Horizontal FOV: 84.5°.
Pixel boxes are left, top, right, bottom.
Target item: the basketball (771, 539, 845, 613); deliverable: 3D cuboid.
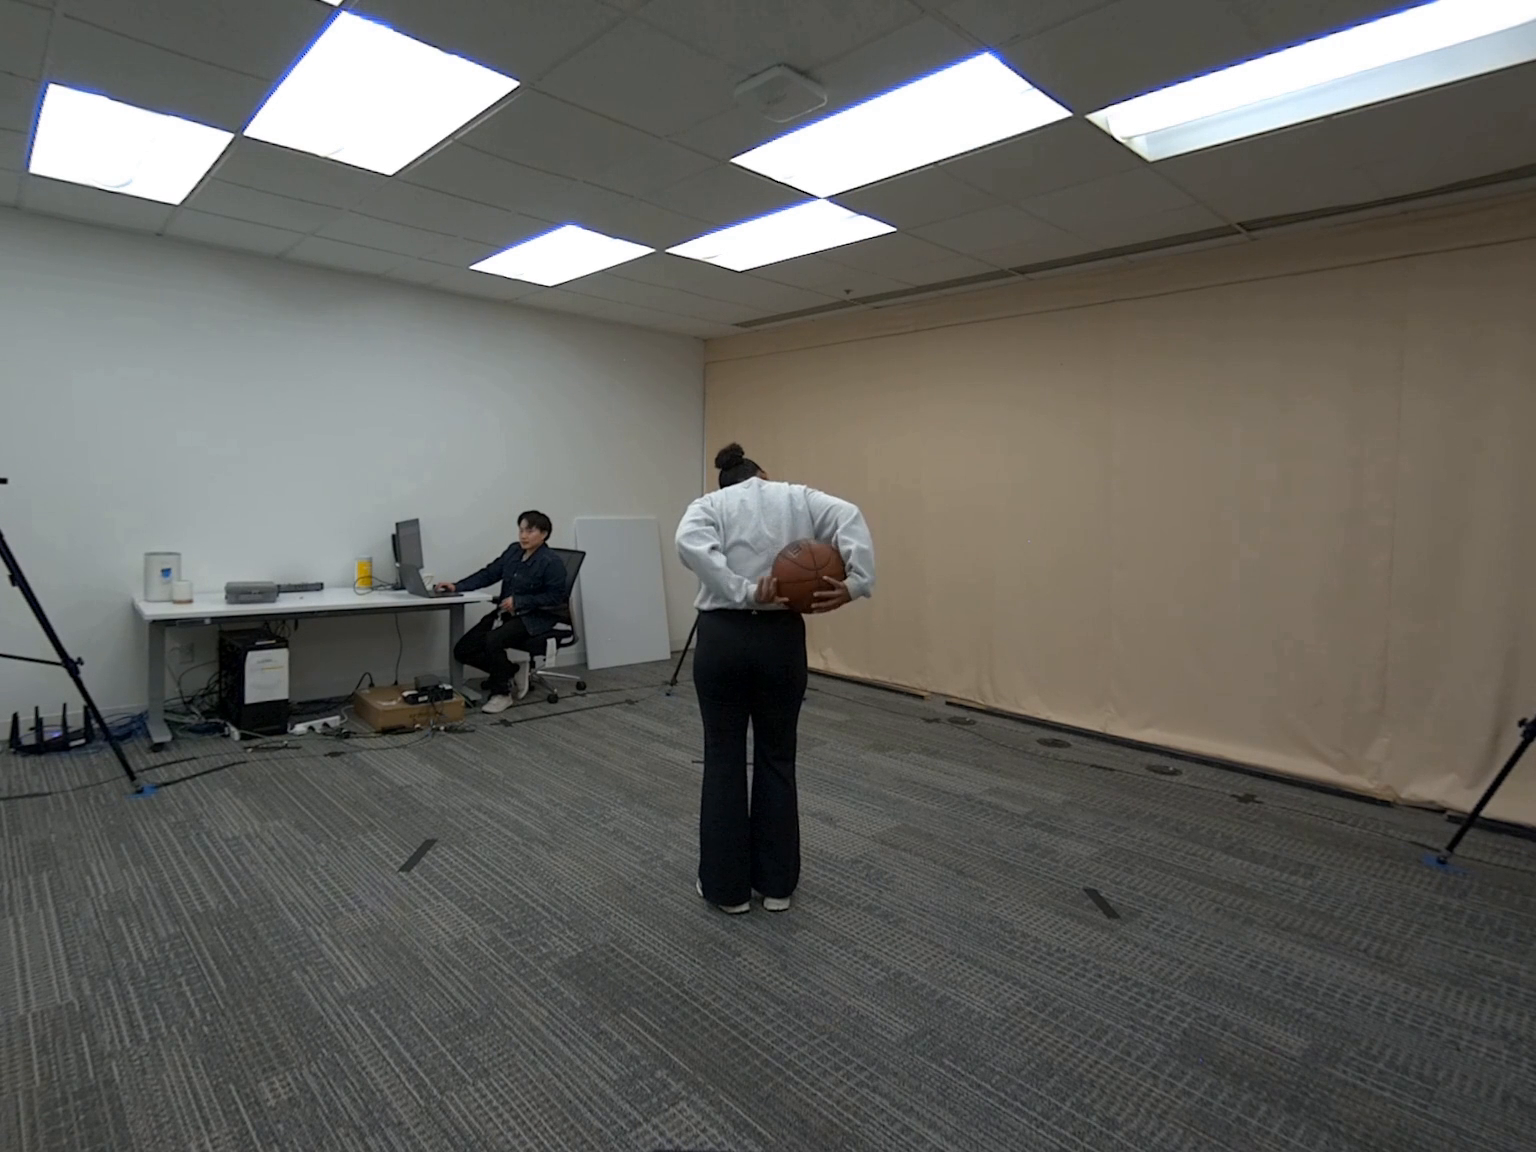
[{"bbox_3d":[0.109,-0.005,2.669,0.236,0.235,0.237,1,4,-1],"label":"basketball"}]
